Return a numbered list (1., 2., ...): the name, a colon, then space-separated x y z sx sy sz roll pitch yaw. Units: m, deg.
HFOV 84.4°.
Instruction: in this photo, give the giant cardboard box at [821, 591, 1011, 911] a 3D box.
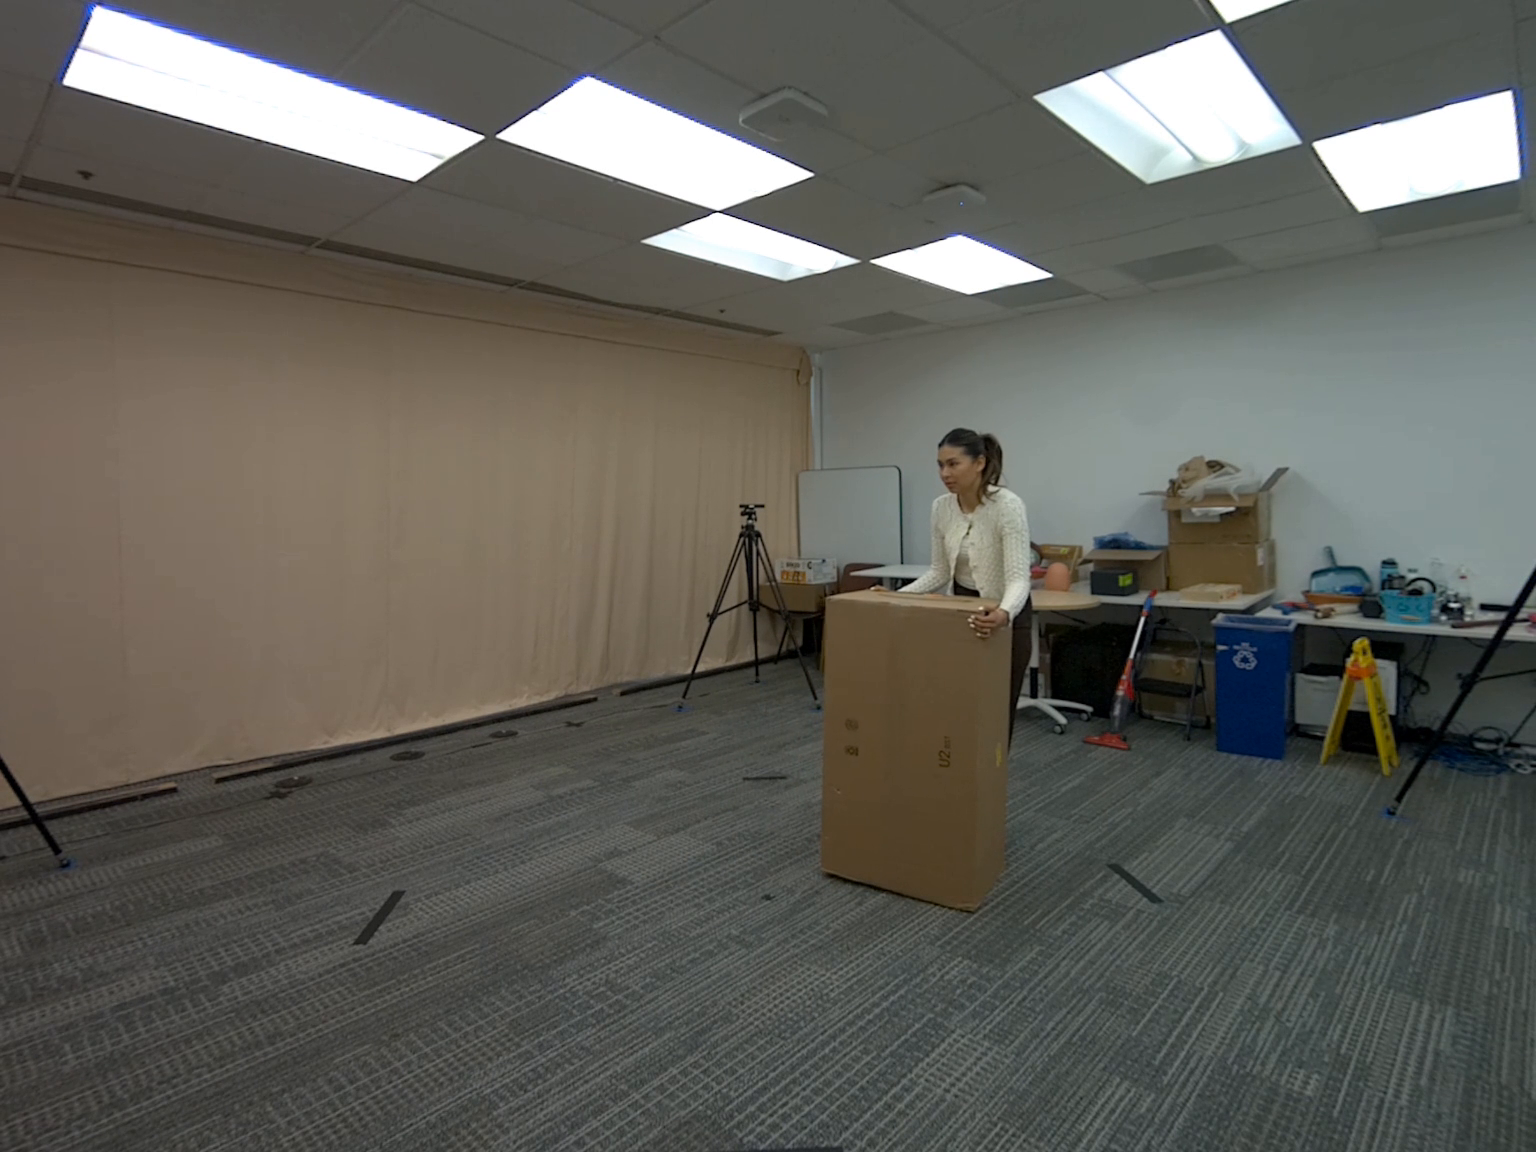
1. giant cardboard box: 0.554 0.599 3.131 0.595 1.024 0.414 3 4 31
